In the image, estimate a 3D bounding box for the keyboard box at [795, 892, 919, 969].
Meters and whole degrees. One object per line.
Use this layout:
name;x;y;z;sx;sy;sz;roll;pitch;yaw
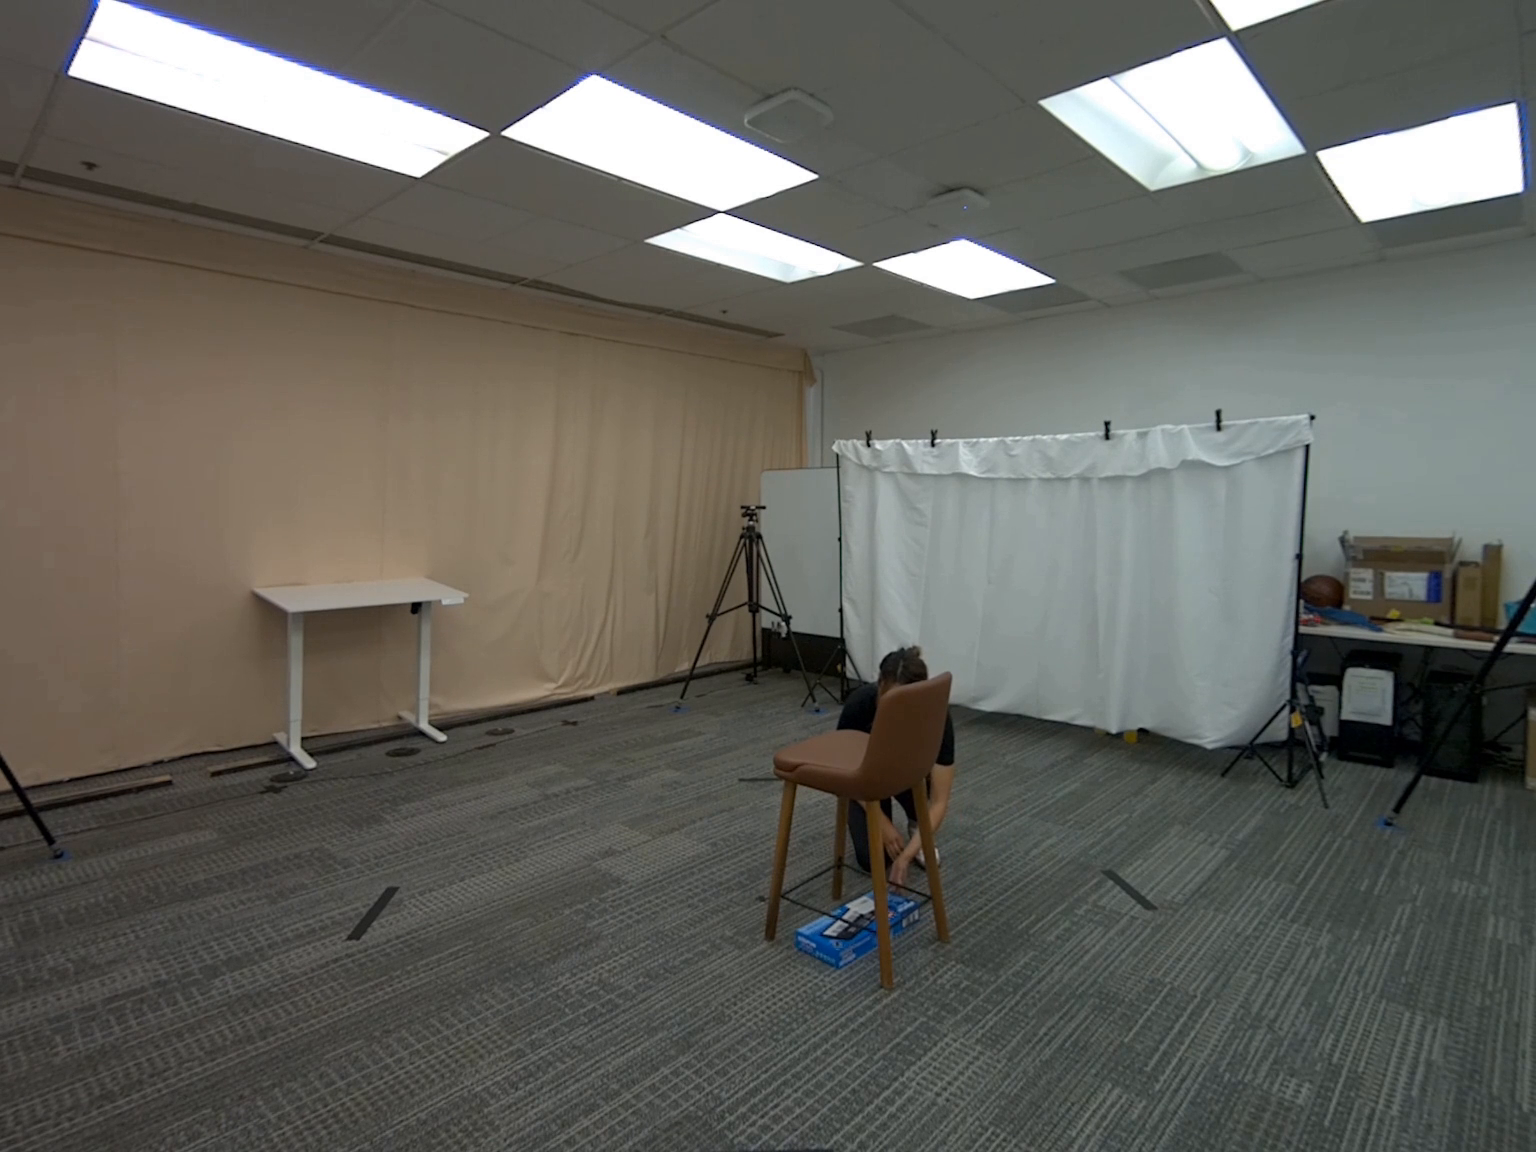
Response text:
keyboard box;0.295;1.130;2.739;0.182;0.059;0.423;4;6;44
